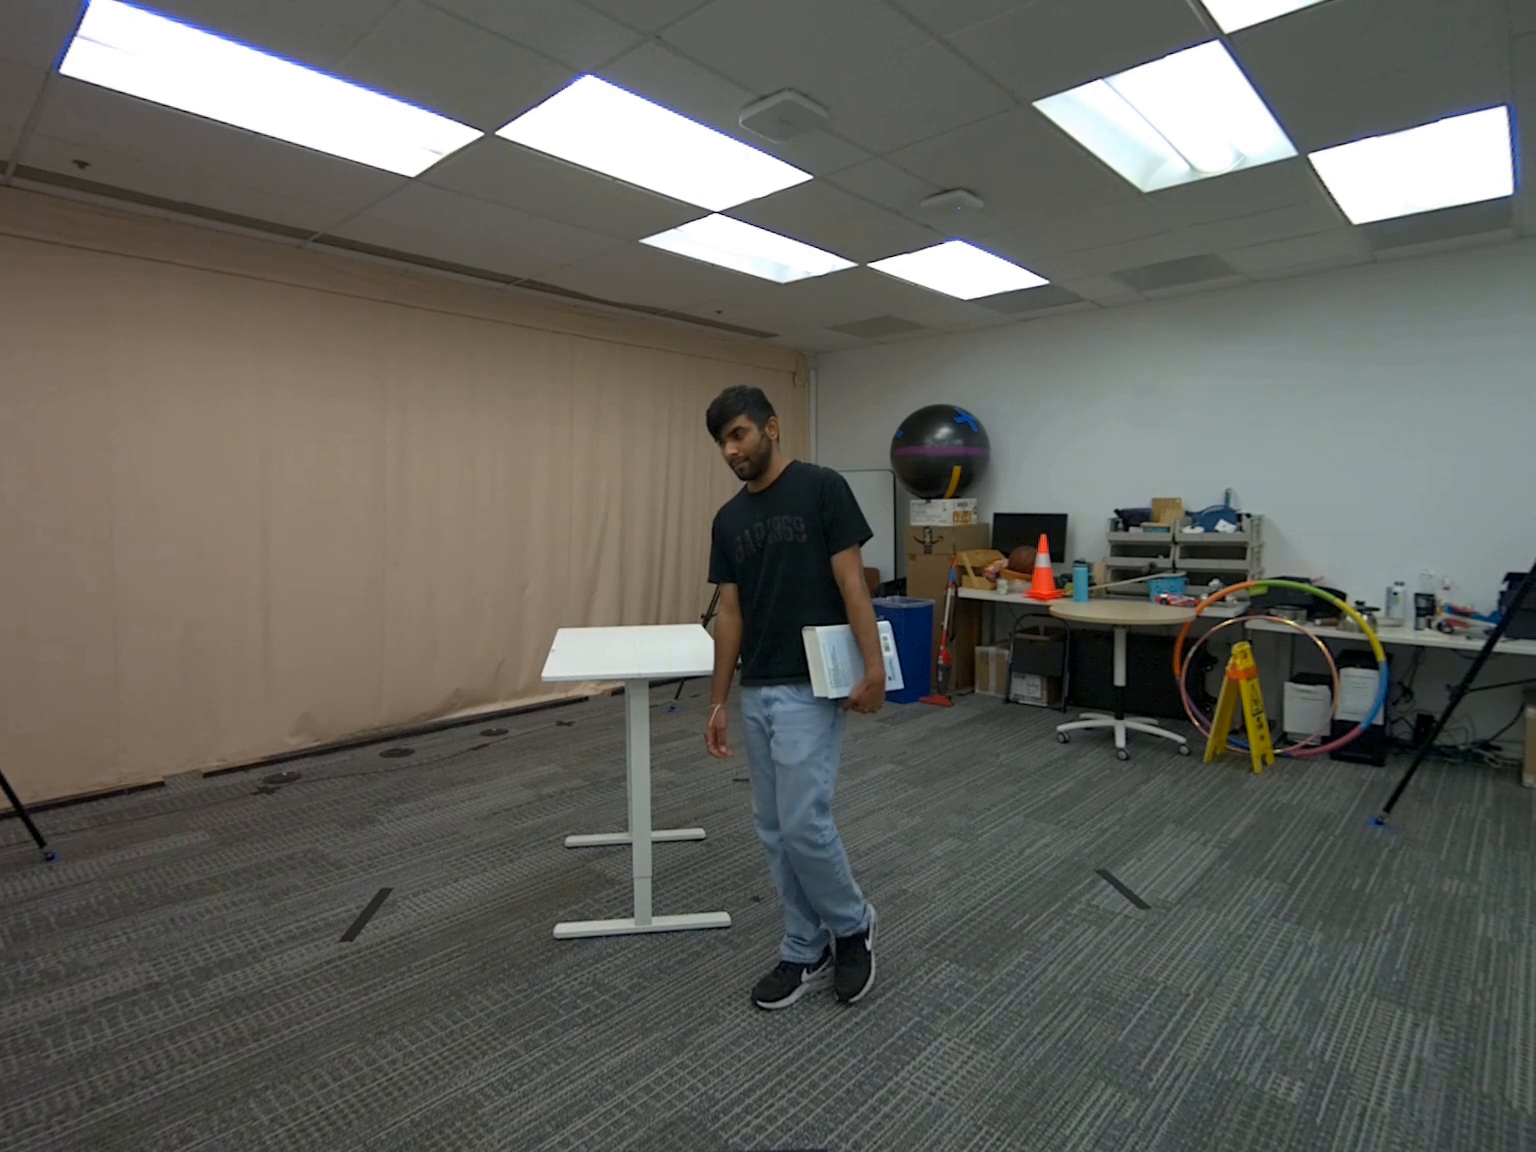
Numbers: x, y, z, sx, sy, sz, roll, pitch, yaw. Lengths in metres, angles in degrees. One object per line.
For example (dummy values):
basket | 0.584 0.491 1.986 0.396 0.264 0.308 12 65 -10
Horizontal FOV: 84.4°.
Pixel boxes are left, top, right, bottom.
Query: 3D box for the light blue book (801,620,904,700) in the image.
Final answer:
light blue book | 0.235 0.227 2.271 0.254 0.193 0.060 -1 -14 -28
